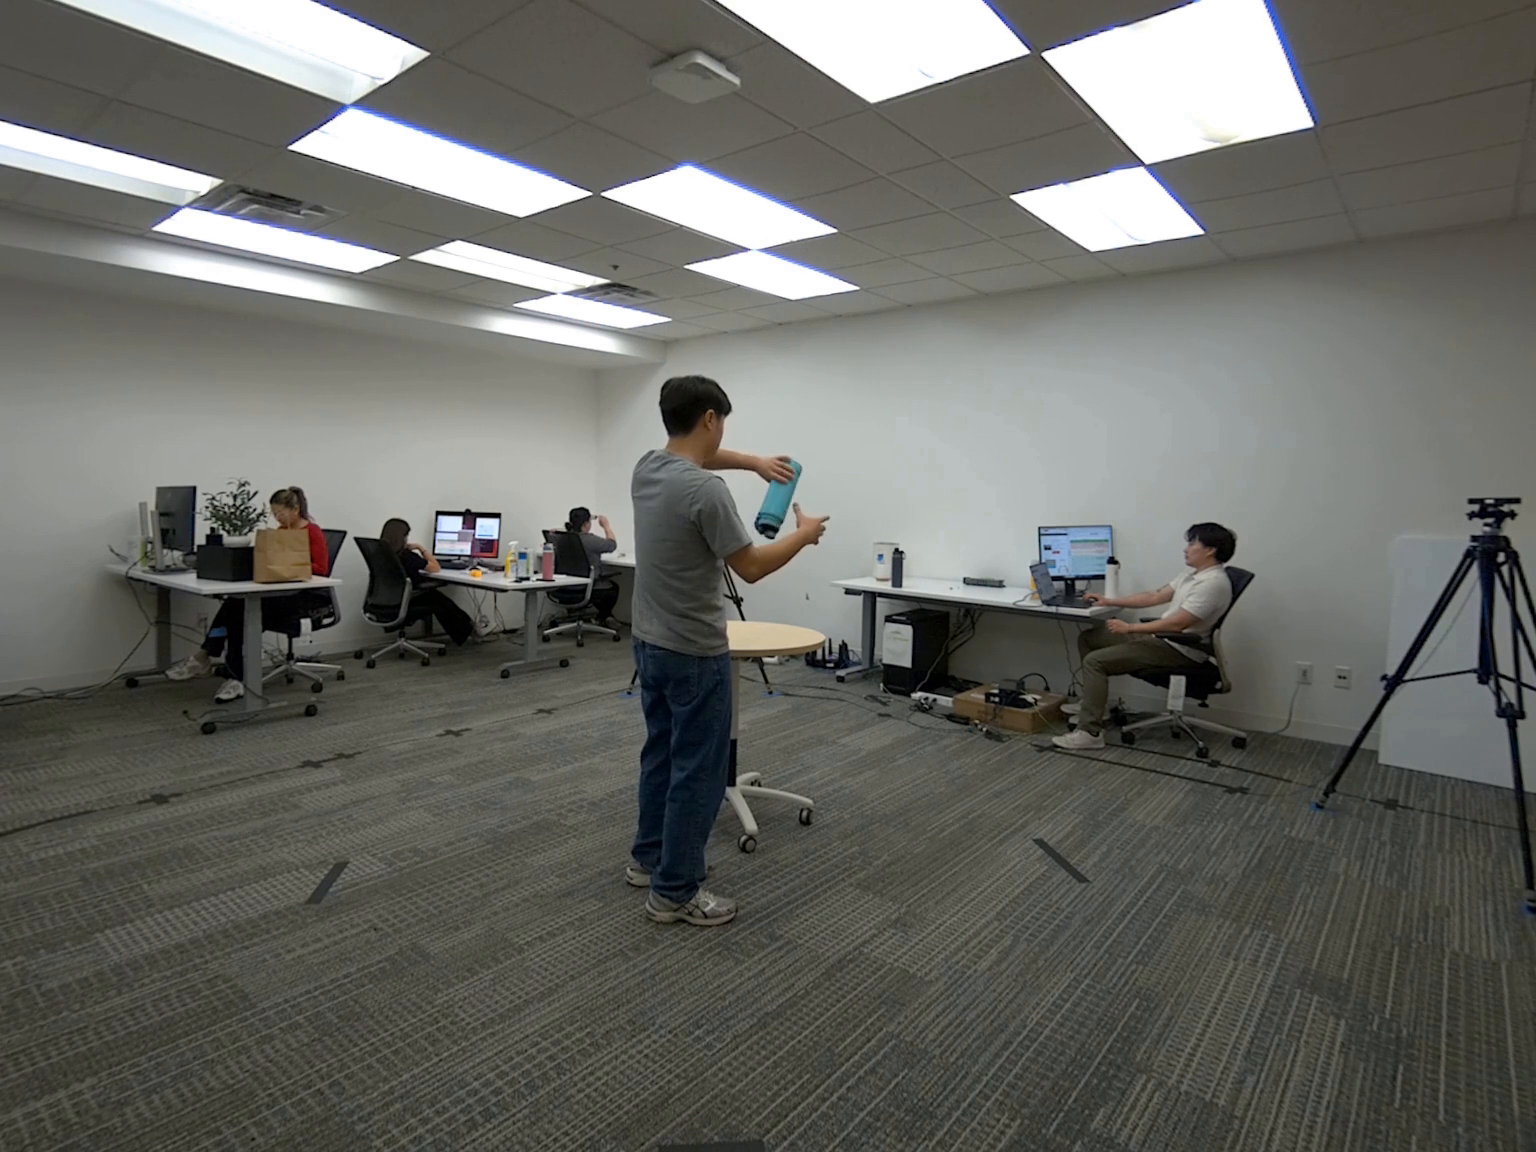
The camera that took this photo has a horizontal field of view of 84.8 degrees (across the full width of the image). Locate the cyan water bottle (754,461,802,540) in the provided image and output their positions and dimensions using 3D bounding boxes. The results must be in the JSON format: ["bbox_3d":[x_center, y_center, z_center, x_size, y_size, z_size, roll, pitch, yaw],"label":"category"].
[{"bbox_3d":[0.026,-0.264,2.914,0.093,0.286,0.091,20,-18,5],"label":"cyan water bottle"}]
